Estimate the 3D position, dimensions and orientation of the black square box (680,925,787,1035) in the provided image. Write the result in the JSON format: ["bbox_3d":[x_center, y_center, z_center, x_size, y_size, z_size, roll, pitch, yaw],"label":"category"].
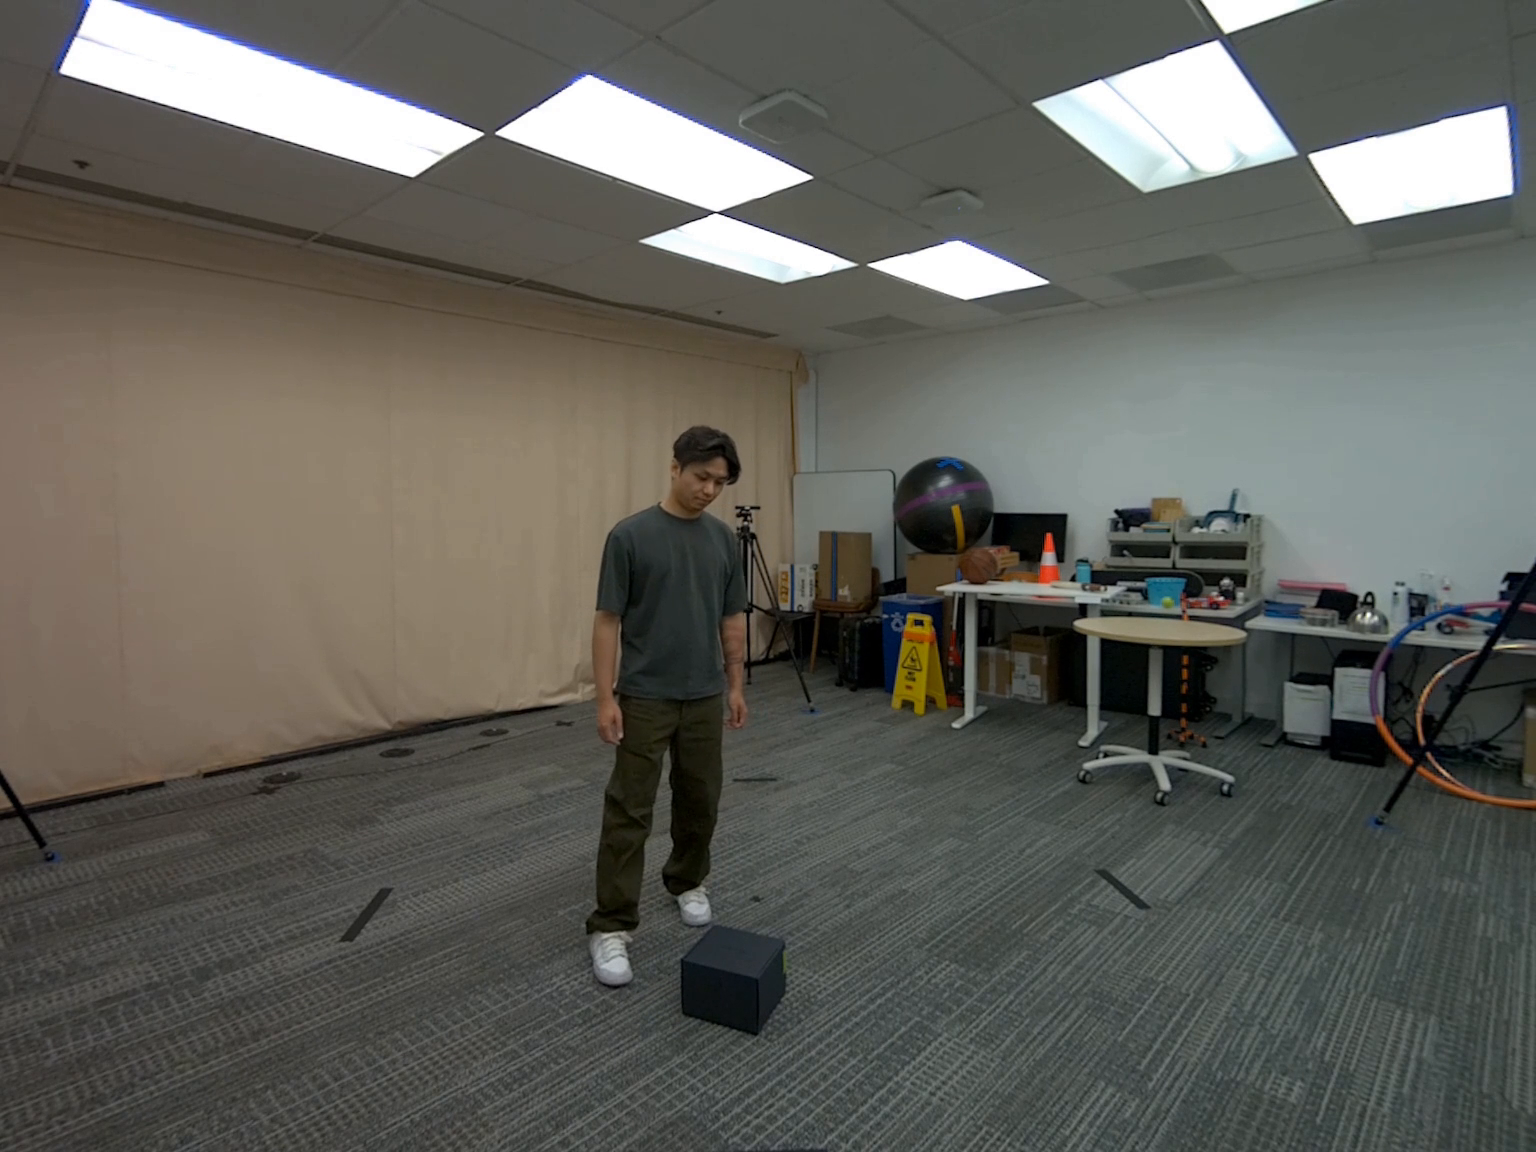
[{"bbox_3d":[-0.088,1.113,2.347,0.233,0.155,0.212,1,4,23],"label":"black square box"}]
